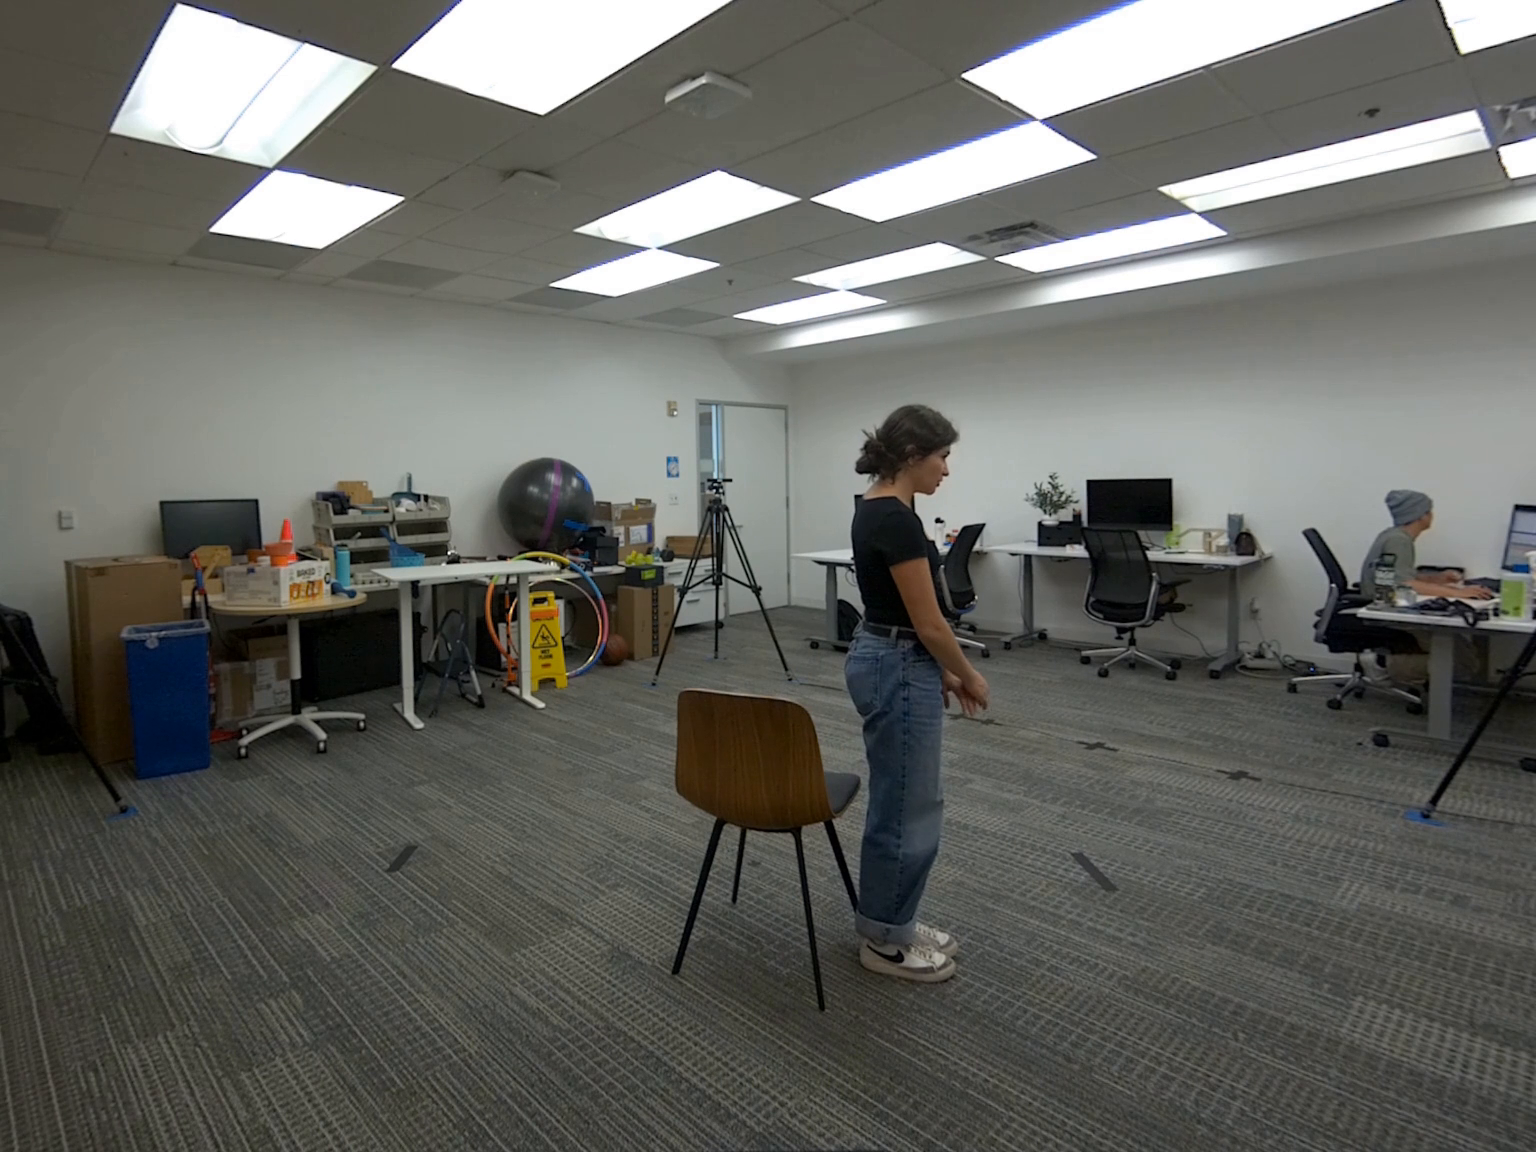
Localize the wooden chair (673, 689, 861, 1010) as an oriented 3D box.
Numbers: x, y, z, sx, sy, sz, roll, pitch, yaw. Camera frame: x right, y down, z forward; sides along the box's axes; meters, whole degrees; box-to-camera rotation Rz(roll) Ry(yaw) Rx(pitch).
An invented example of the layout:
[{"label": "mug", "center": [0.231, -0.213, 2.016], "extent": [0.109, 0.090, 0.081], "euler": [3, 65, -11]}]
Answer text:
[{"label": "wooden chair", "center": [0.012, 0.687, 2.508], "extent": [0.488, 0.870, 0.516], "euler": [1, 9, 22]}]
